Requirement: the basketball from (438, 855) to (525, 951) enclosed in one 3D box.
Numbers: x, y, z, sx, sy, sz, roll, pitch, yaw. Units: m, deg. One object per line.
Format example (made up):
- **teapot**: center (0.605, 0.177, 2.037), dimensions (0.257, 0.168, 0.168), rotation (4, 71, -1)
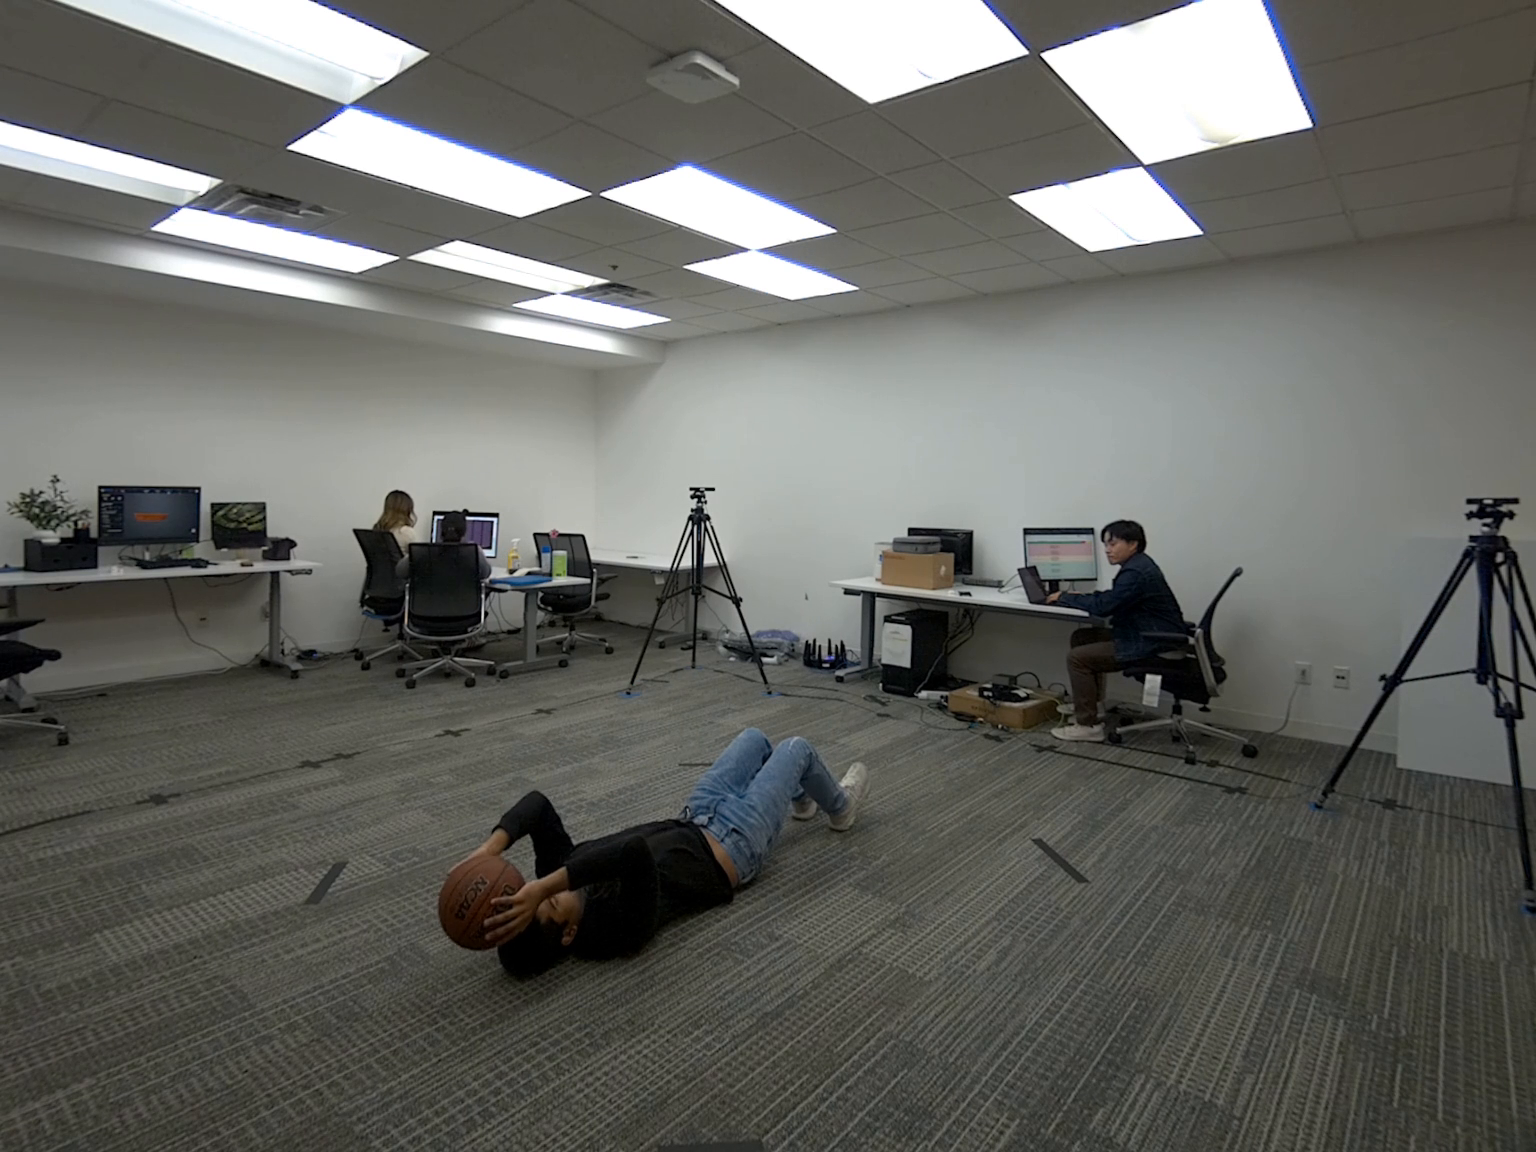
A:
- **basketball**: center (-0.783, 0.888, 2.330), dimensions (0.235, 0.235, 0.237), rotation (1, 4, -2)
